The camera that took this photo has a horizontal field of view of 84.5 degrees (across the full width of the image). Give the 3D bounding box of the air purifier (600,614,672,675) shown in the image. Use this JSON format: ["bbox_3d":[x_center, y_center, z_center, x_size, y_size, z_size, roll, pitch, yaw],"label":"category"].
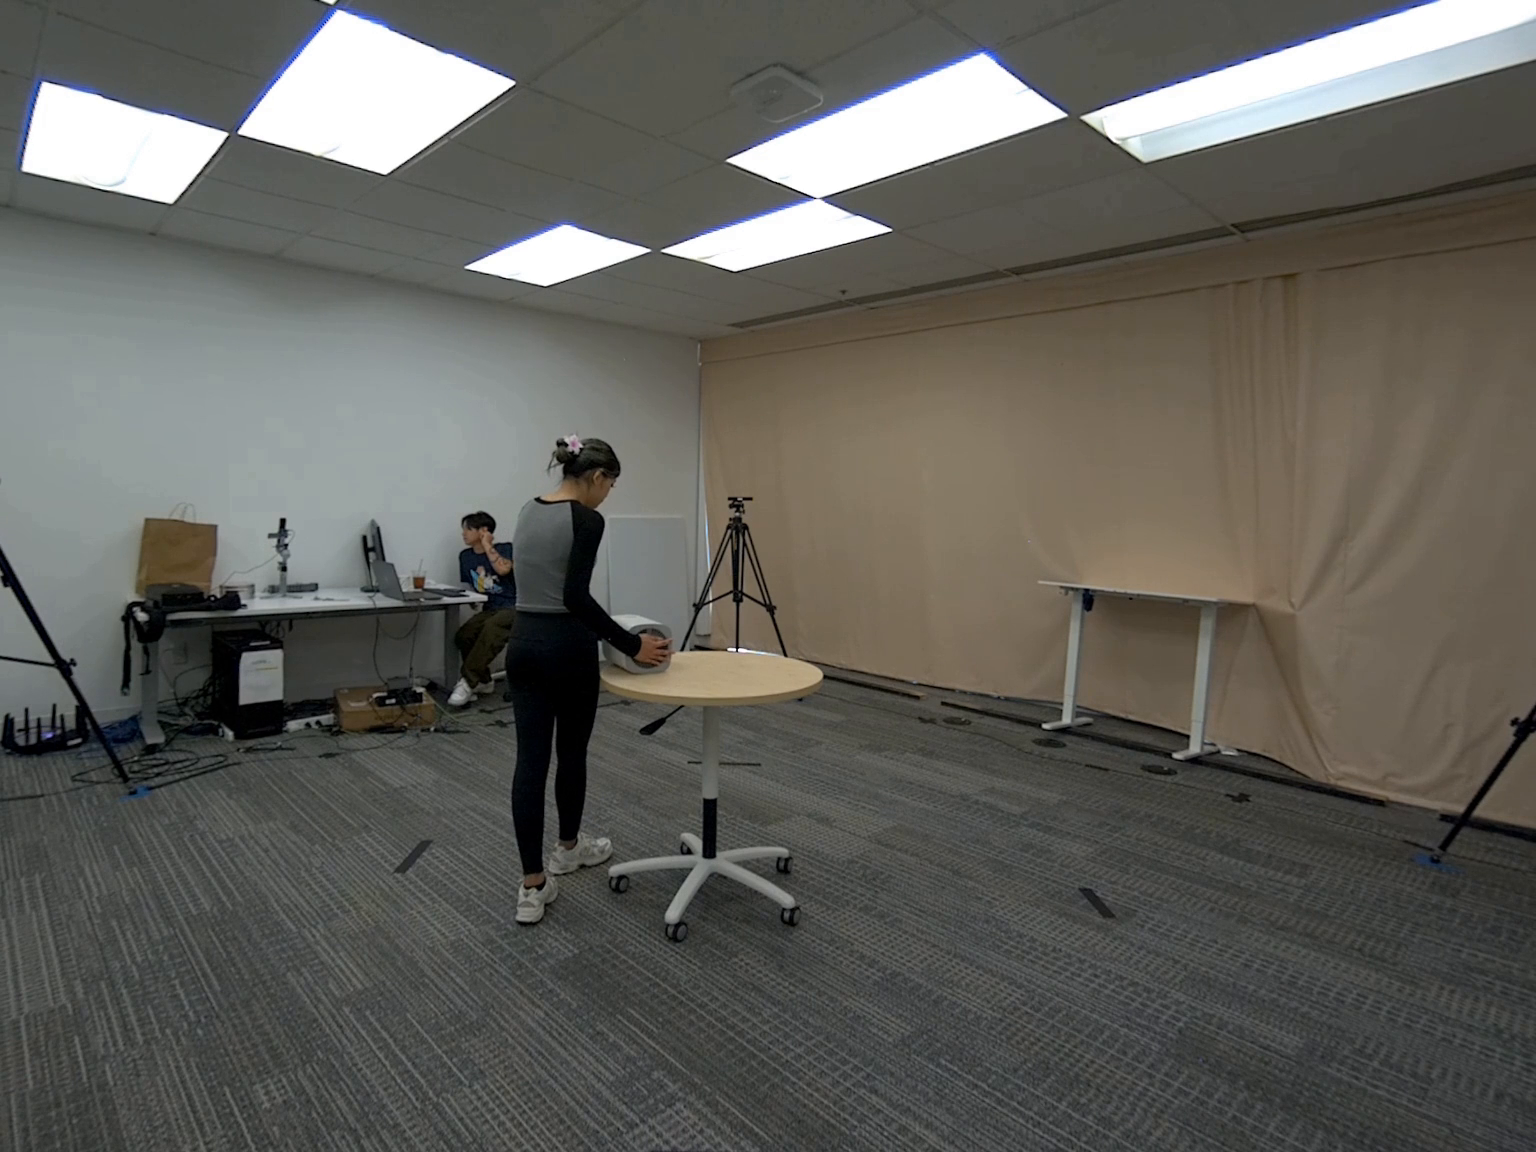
[{"bbox_3d":[-0.474,0.235,2.974,0.168,0.171,0.271,-1,5,-28],"label":"air purifier"}]
